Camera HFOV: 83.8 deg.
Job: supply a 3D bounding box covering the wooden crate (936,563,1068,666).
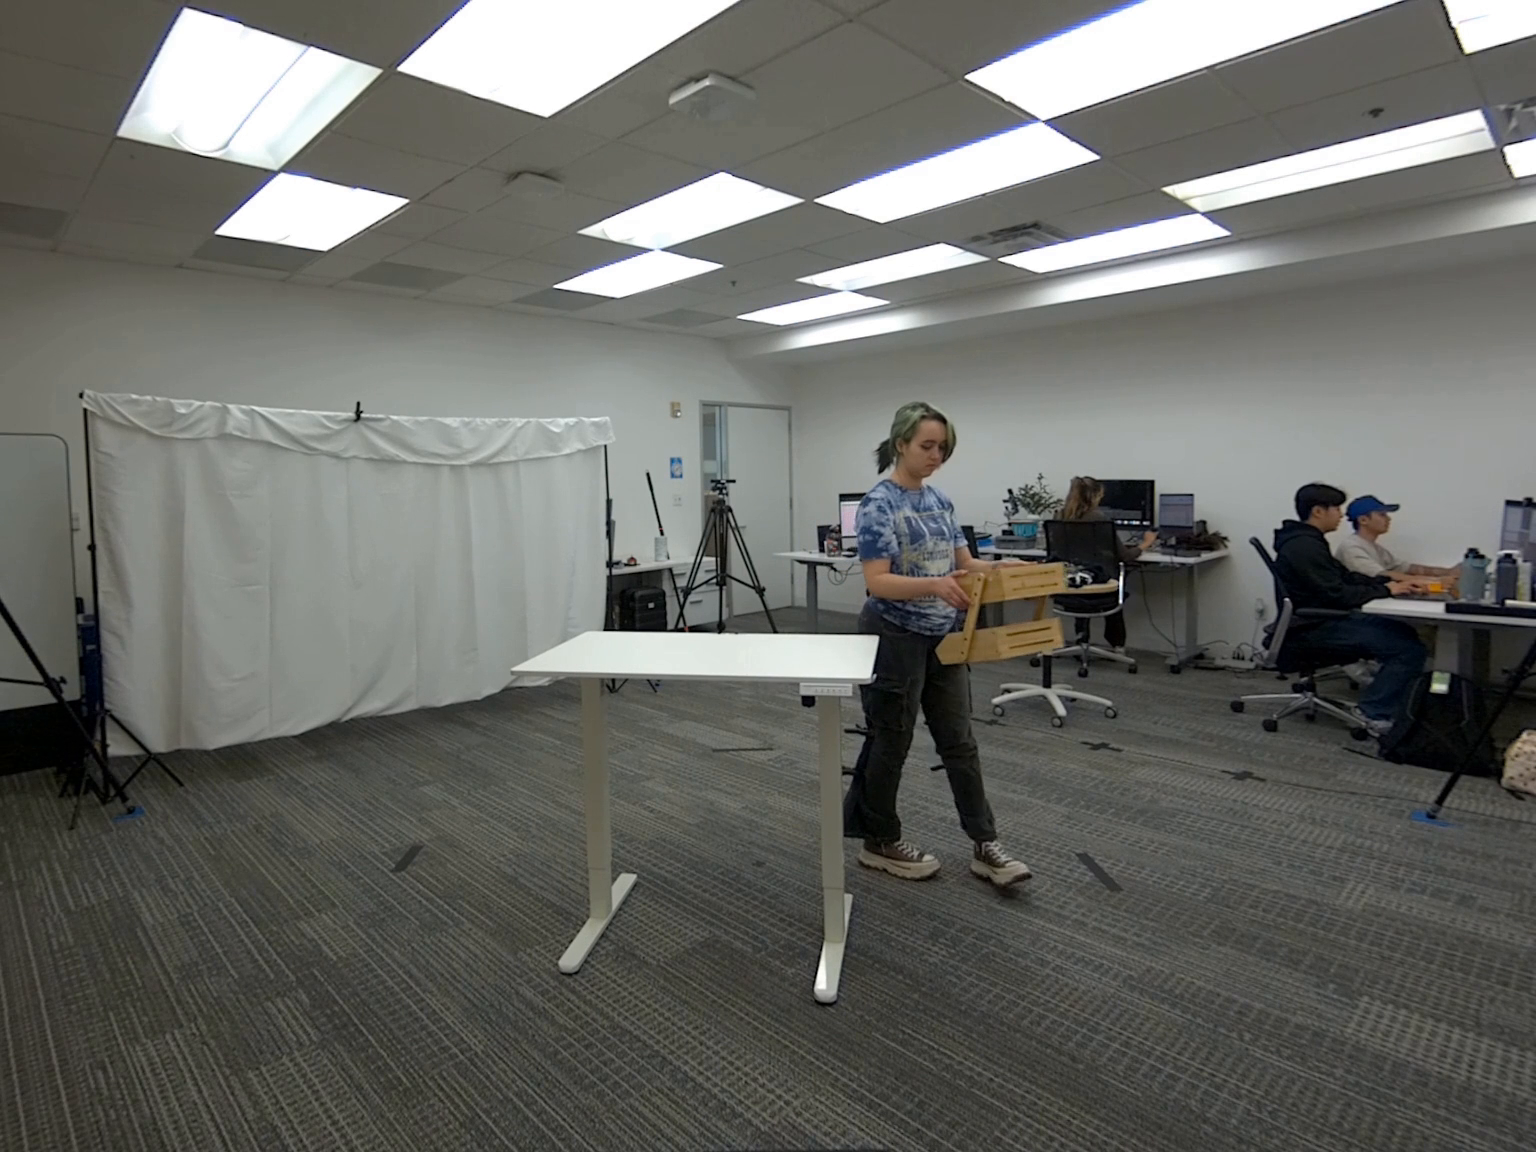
[{"bbox_3d":[0.724,0.115,2.657,0.316,0.275,0.307,-5,-6,-33],"label":"wooden crate"}]
